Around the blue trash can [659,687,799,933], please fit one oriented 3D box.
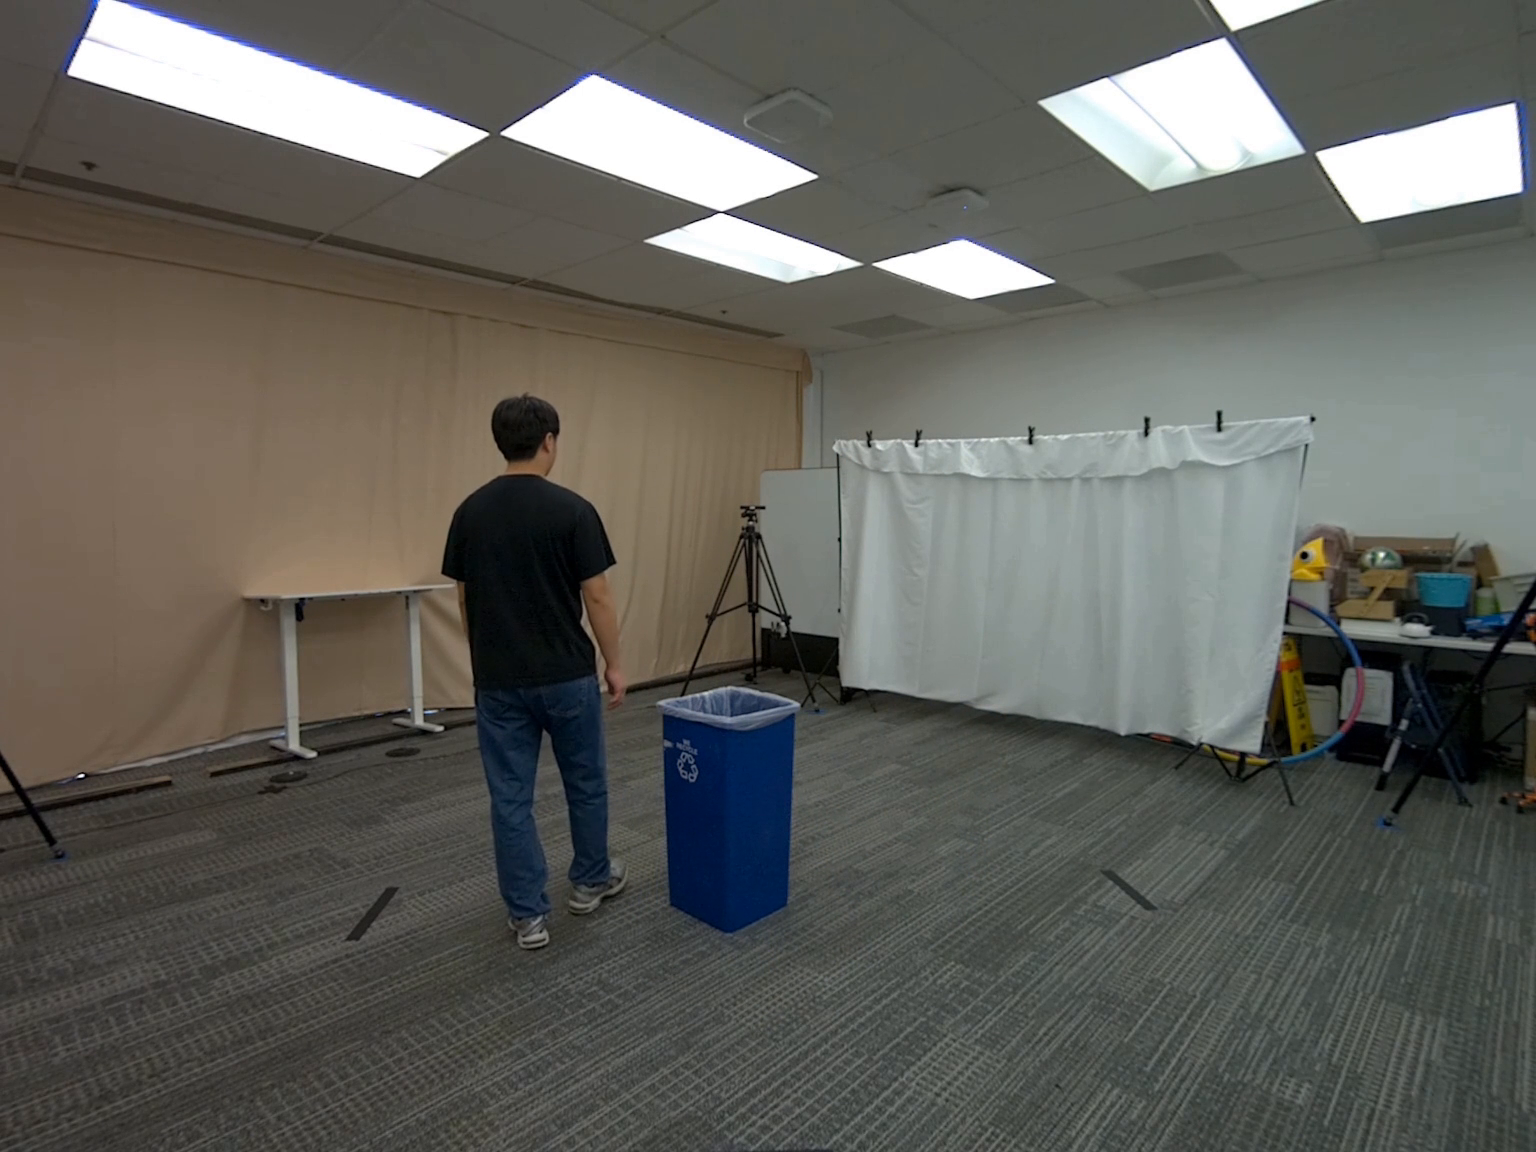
[{"bbox_3d":[-0.126,0.791,2.920,0.366,0.712,0.386,-4,4,-45],"label":"blue trash can"}]
